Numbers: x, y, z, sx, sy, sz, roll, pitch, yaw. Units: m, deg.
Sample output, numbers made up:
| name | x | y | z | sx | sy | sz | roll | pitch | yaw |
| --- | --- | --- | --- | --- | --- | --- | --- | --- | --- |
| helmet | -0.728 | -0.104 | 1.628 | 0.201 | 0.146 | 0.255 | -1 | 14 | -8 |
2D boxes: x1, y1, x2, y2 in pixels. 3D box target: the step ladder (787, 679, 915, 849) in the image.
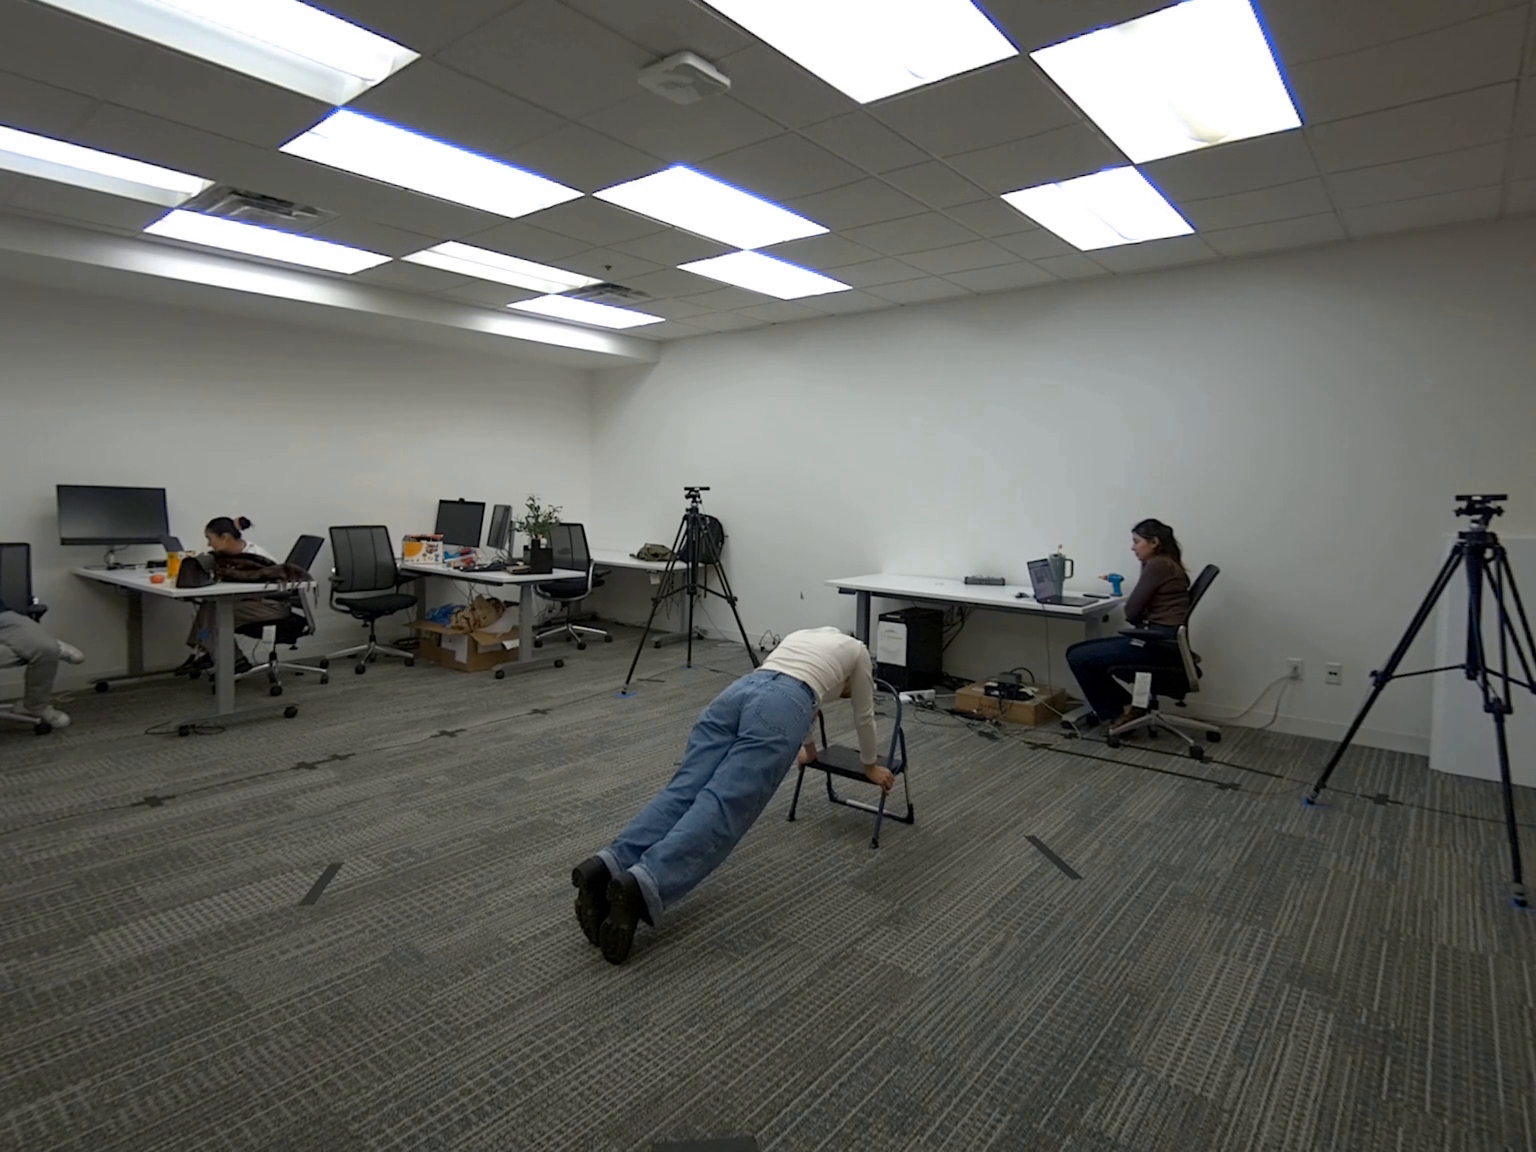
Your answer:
| name | x | y | z | sx | sy | sz | roll | pitch | yaw |
| --- | --- | --- | --- | --- | --- | --- | --- | --- | --- |
| step ladder | 0.351 | 0.730 | 3.562 | 0.445 | 0.604 | 0.339 | 4 | 4 | 38 |
